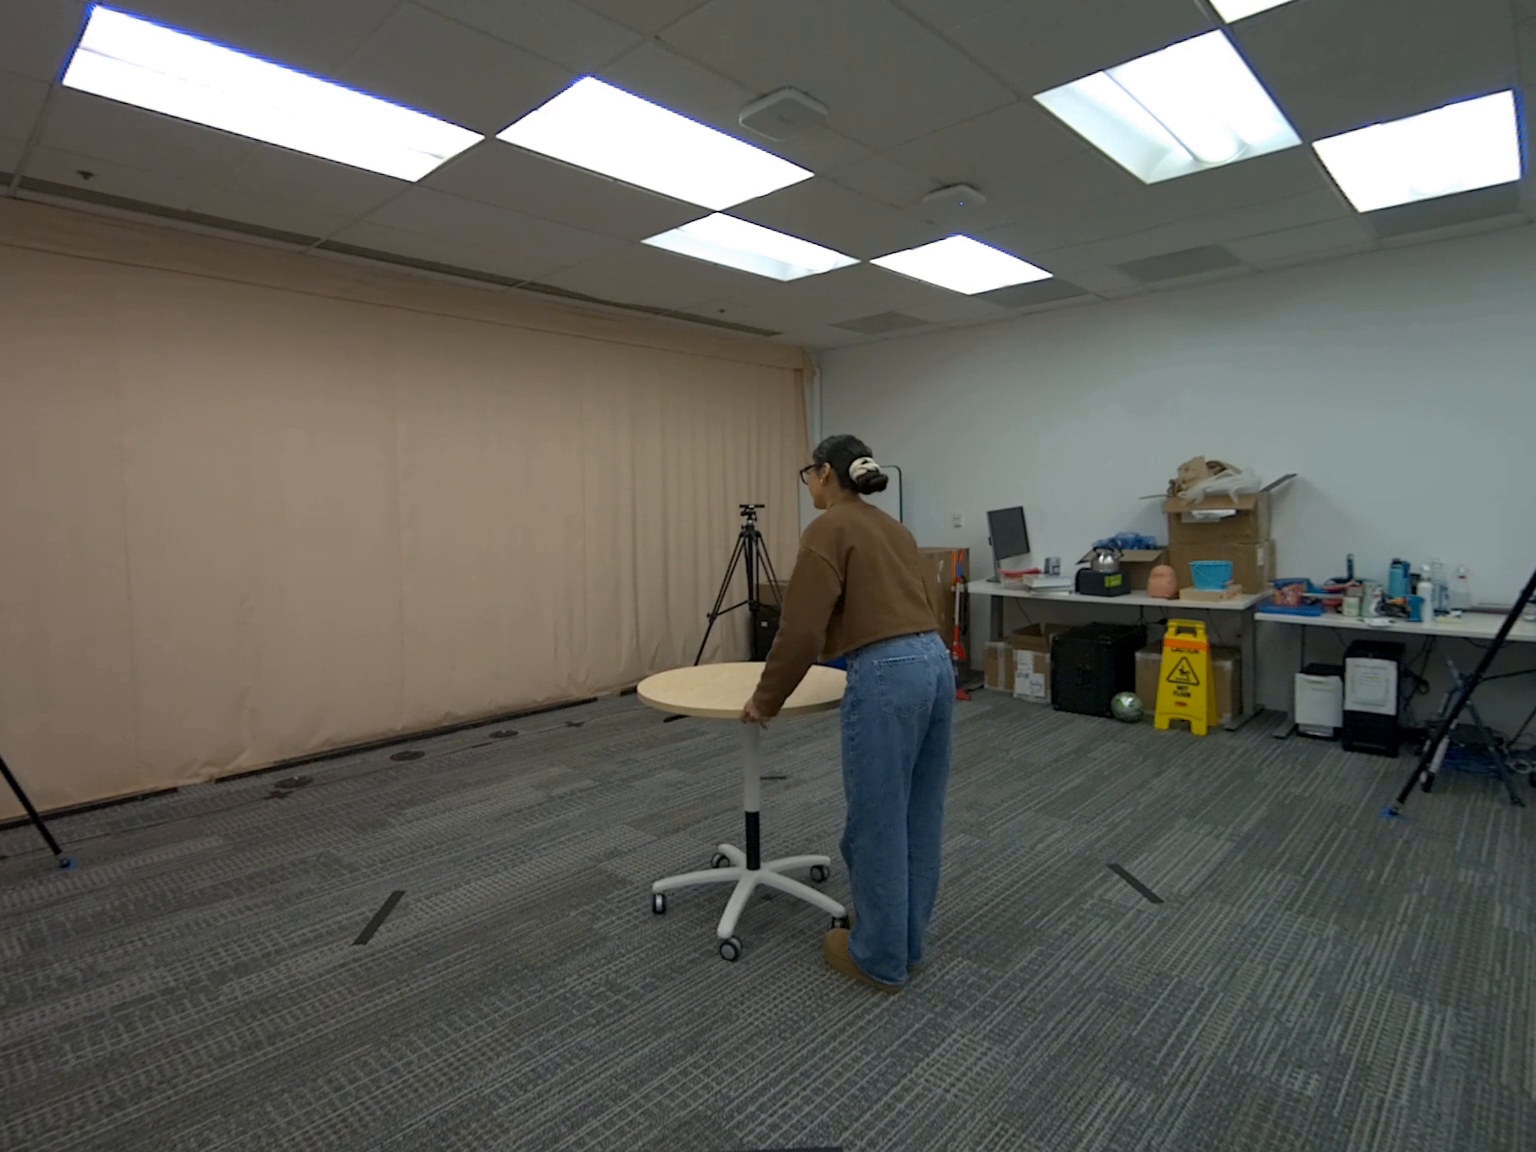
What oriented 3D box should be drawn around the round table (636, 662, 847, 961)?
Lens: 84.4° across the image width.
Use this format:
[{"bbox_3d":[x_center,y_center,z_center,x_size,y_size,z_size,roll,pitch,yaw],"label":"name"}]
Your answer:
[{"bbox_3d":[-0.053,0.759,2.890,0.763,0.792,0.766,-1,3,-2],"label":"round table"}]
